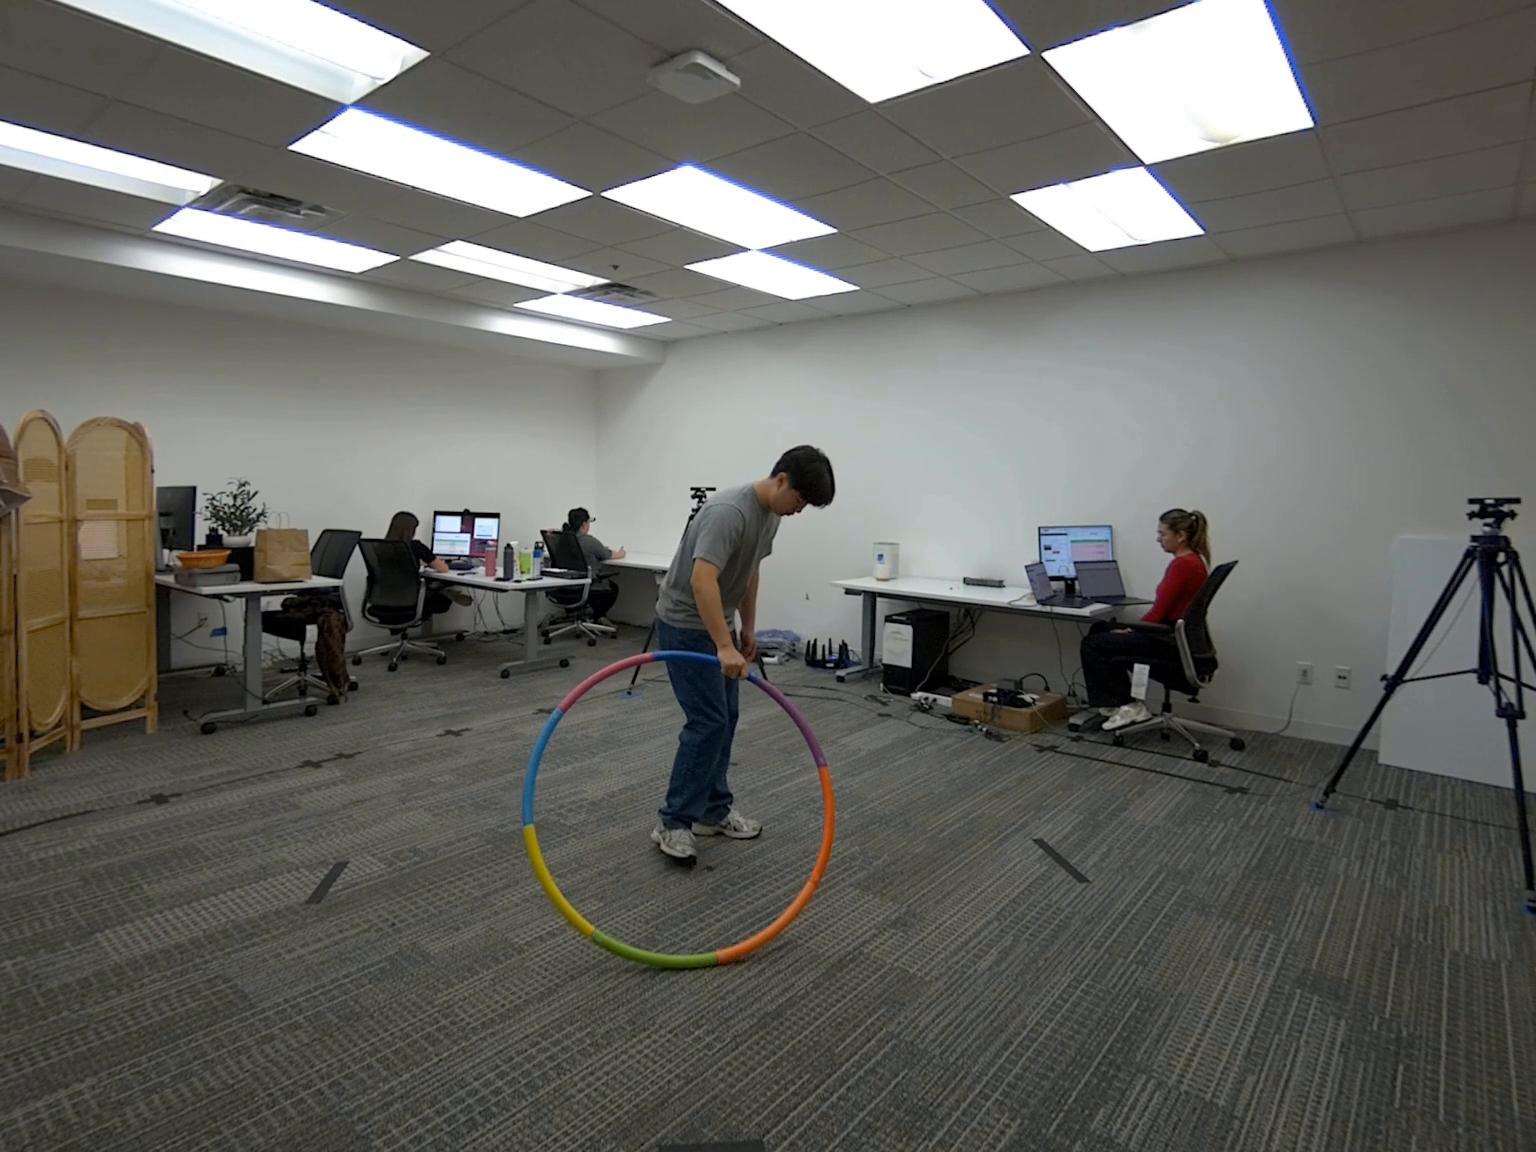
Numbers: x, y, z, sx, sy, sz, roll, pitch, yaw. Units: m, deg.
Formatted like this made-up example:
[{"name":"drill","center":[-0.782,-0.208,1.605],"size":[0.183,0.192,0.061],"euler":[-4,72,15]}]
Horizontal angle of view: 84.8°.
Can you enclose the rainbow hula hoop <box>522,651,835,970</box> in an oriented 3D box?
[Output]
[{"name":"rainbow hula hoop","center":[-0.276,0.694,2.695],"size":[0.967,1.006,0.035],"euler":[-1,-30,-11]}]
